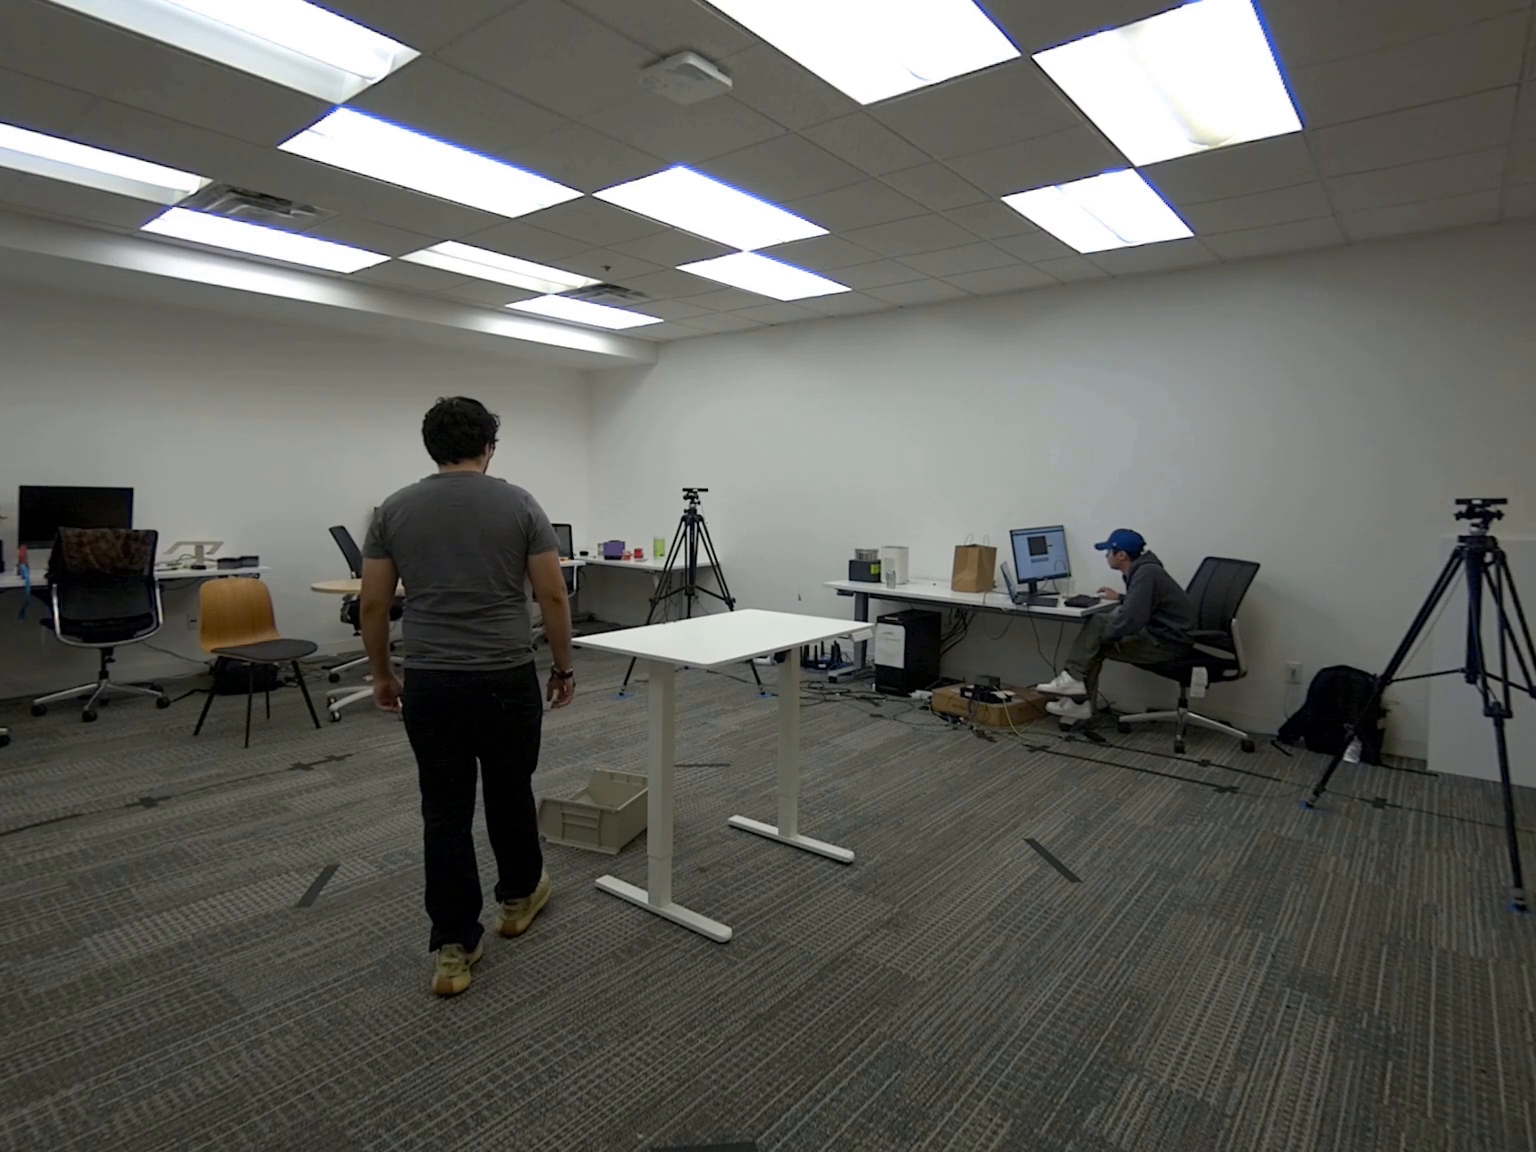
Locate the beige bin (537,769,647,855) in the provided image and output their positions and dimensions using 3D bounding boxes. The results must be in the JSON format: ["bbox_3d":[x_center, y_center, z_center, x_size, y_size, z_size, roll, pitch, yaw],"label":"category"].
[{"bbox_3d":[-0.689,0.940,3.461,0.385,0.188,0.415,3,5,19],"label":"beige bin"}]
